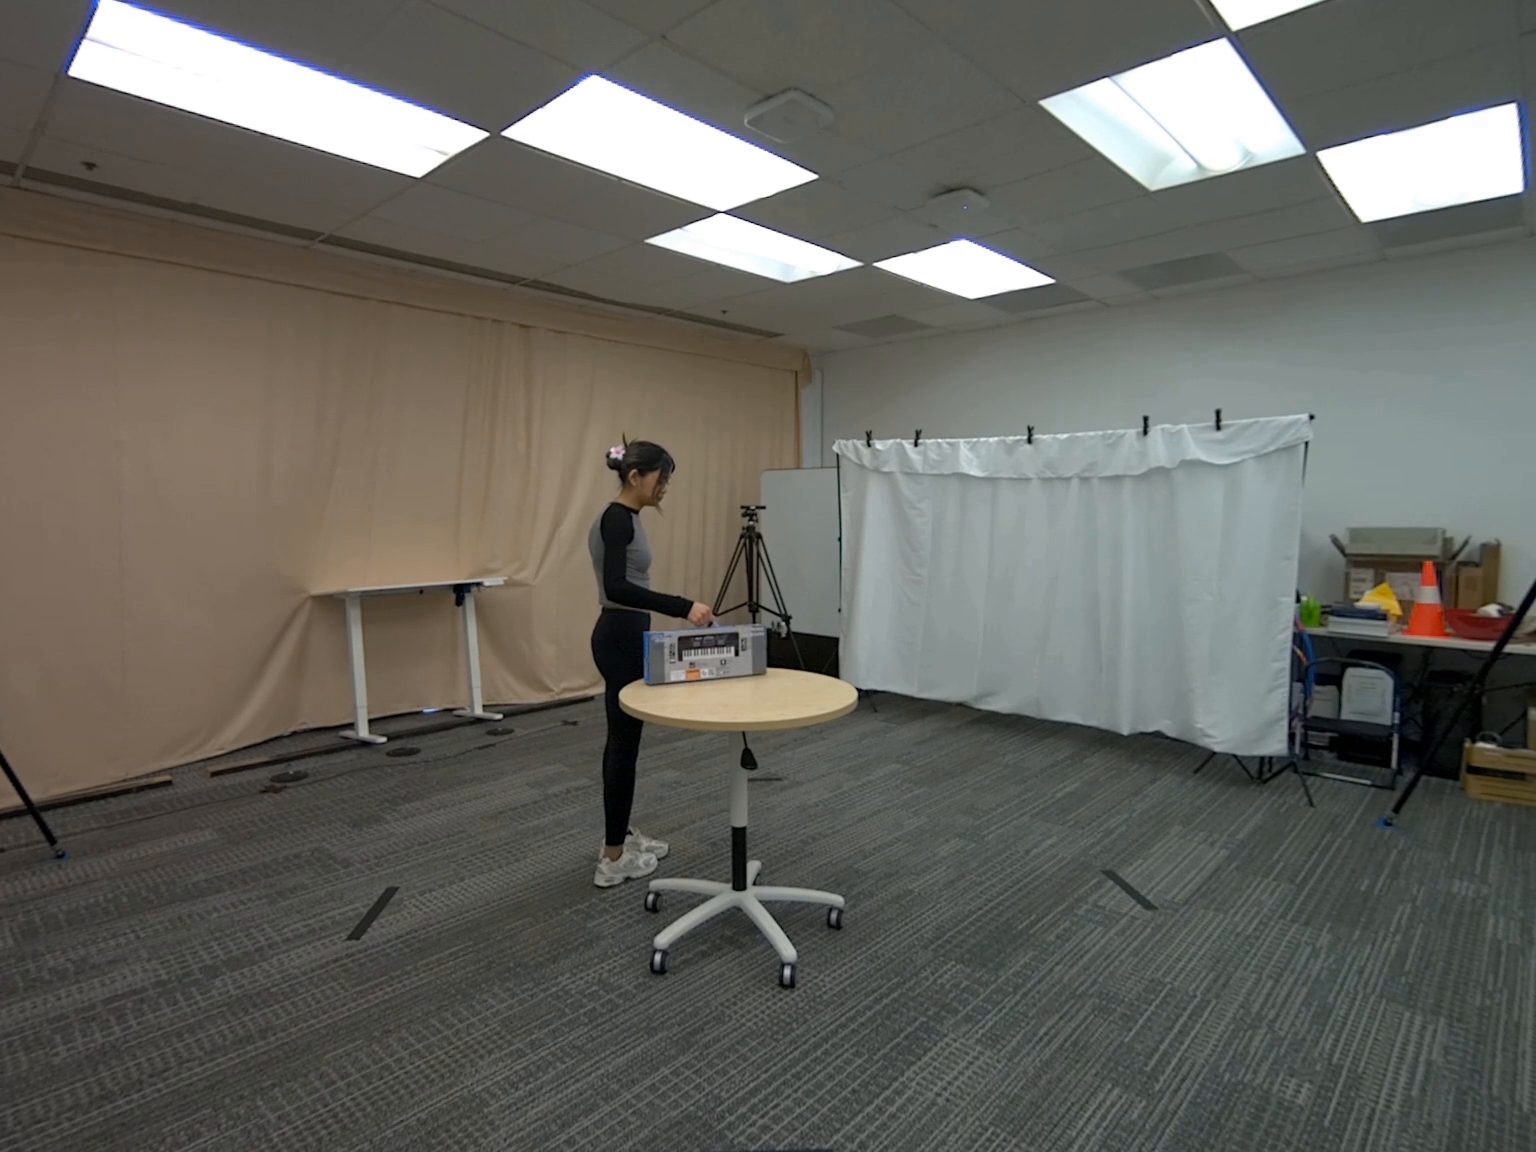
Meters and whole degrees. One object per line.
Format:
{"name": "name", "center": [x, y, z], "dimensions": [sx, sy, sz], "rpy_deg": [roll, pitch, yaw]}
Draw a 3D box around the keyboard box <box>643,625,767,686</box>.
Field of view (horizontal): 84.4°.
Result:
{"name": "keyboard box", "center": [-0.211, 0.267, 2.904], "dimensions": [0.427, 0.175, 0.060], "rpy_deg": [-2, 3, -23]}
